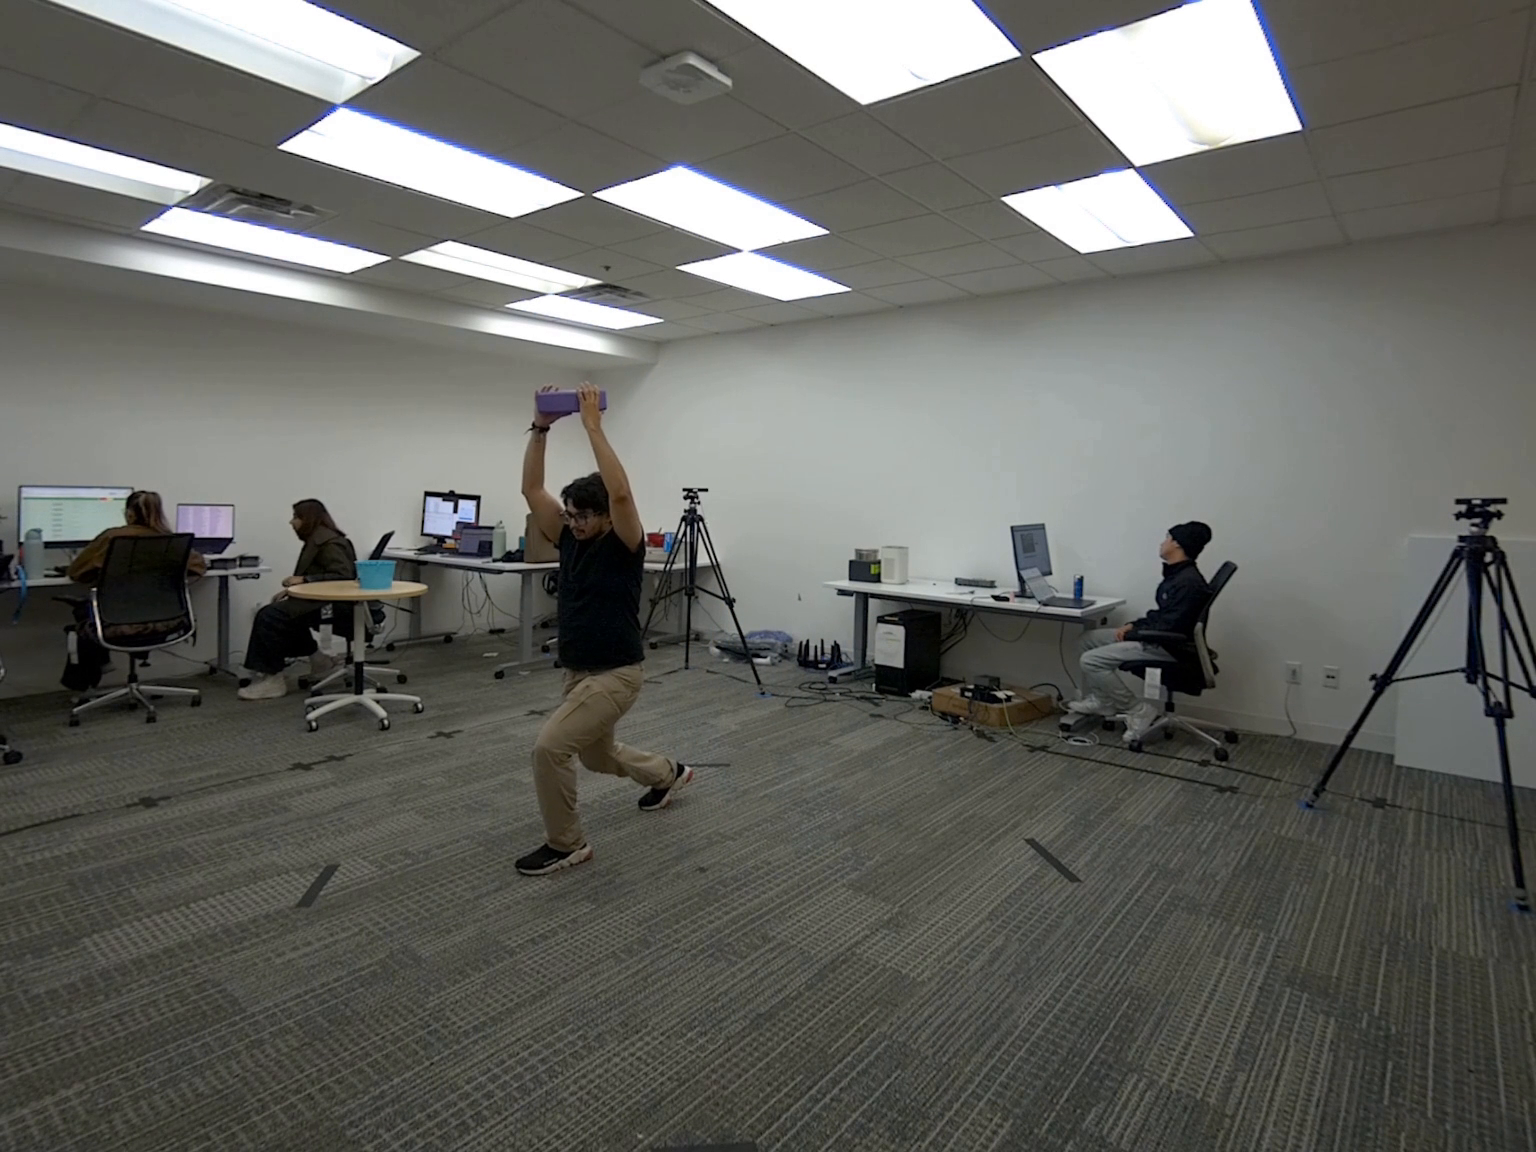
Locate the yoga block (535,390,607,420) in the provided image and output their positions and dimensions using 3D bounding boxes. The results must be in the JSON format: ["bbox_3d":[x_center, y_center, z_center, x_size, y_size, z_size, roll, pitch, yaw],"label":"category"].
[{"bbox_3d":[-0.734,-0.651,3.132,0.237,0.075,0.146,7,15,34],"label":"yoga block"}]
